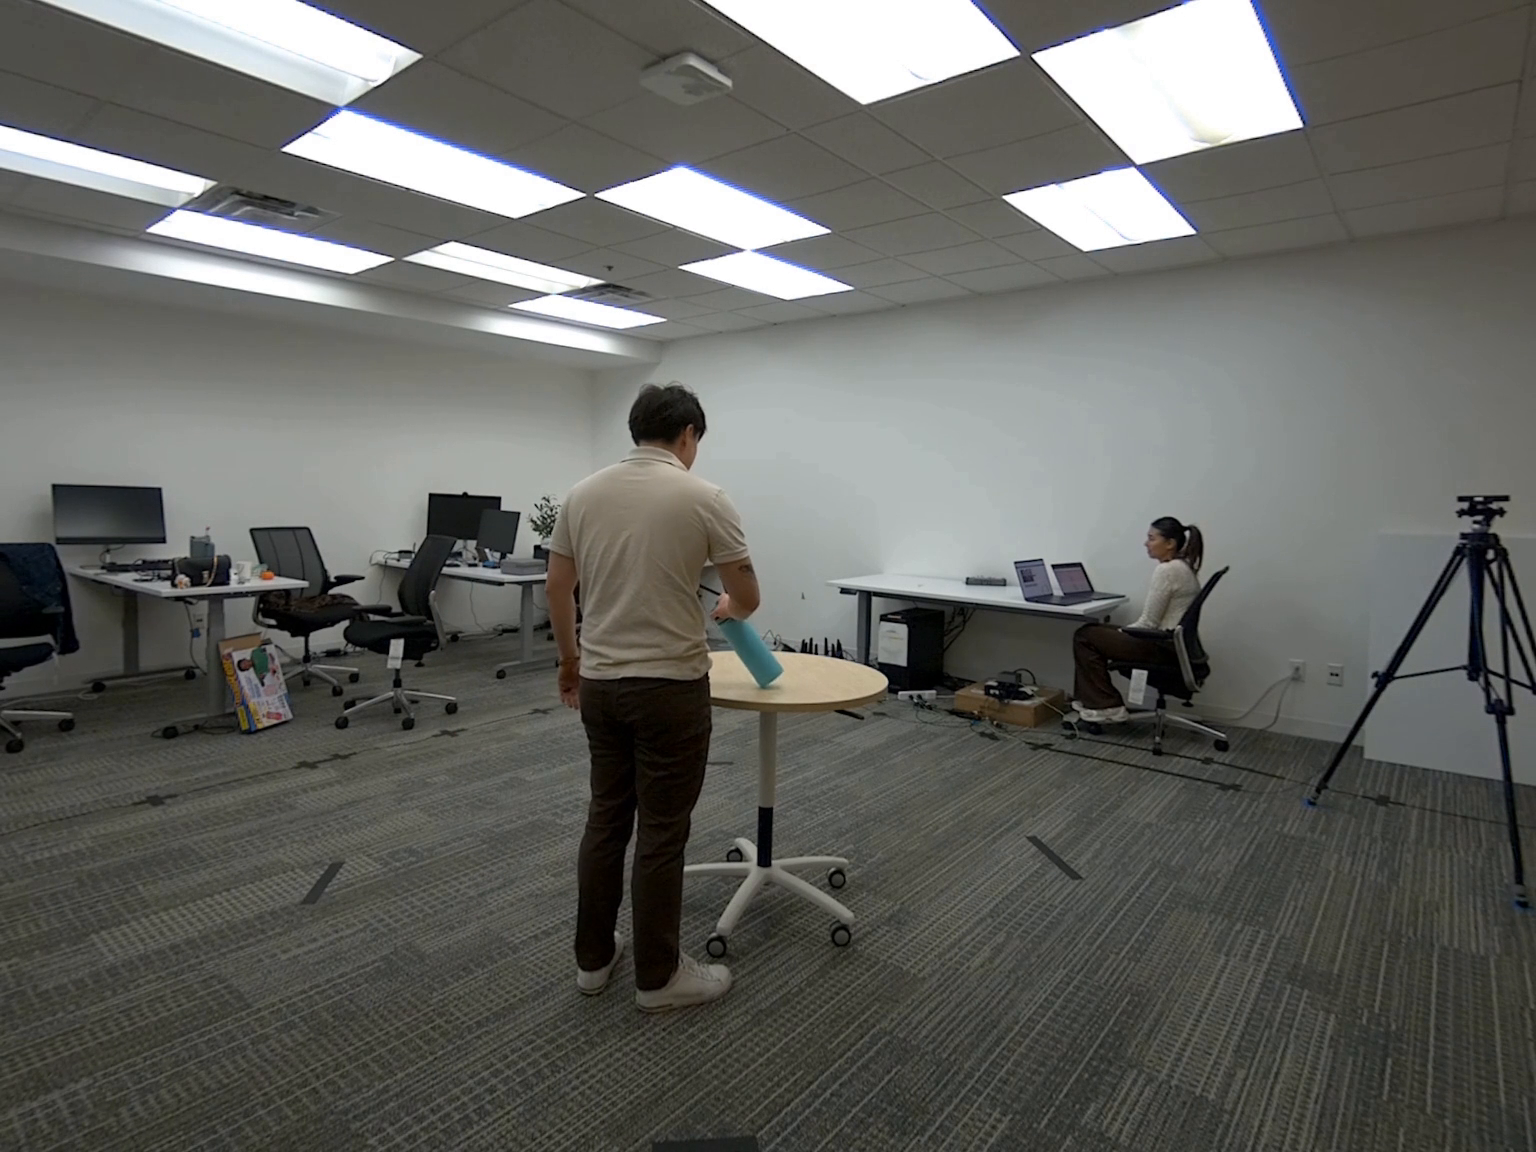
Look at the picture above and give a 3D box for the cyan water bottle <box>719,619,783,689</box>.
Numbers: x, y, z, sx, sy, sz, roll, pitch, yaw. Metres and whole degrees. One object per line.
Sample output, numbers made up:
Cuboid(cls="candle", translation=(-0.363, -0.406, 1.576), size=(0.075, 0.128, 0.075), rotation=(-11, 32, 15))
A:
Cuboid(cls="cyan water bottle", translation=(-0.075, 0.200, 2.604), size=(0.092, 0.283, 0.092), rotation=(-35, 0, -1))
